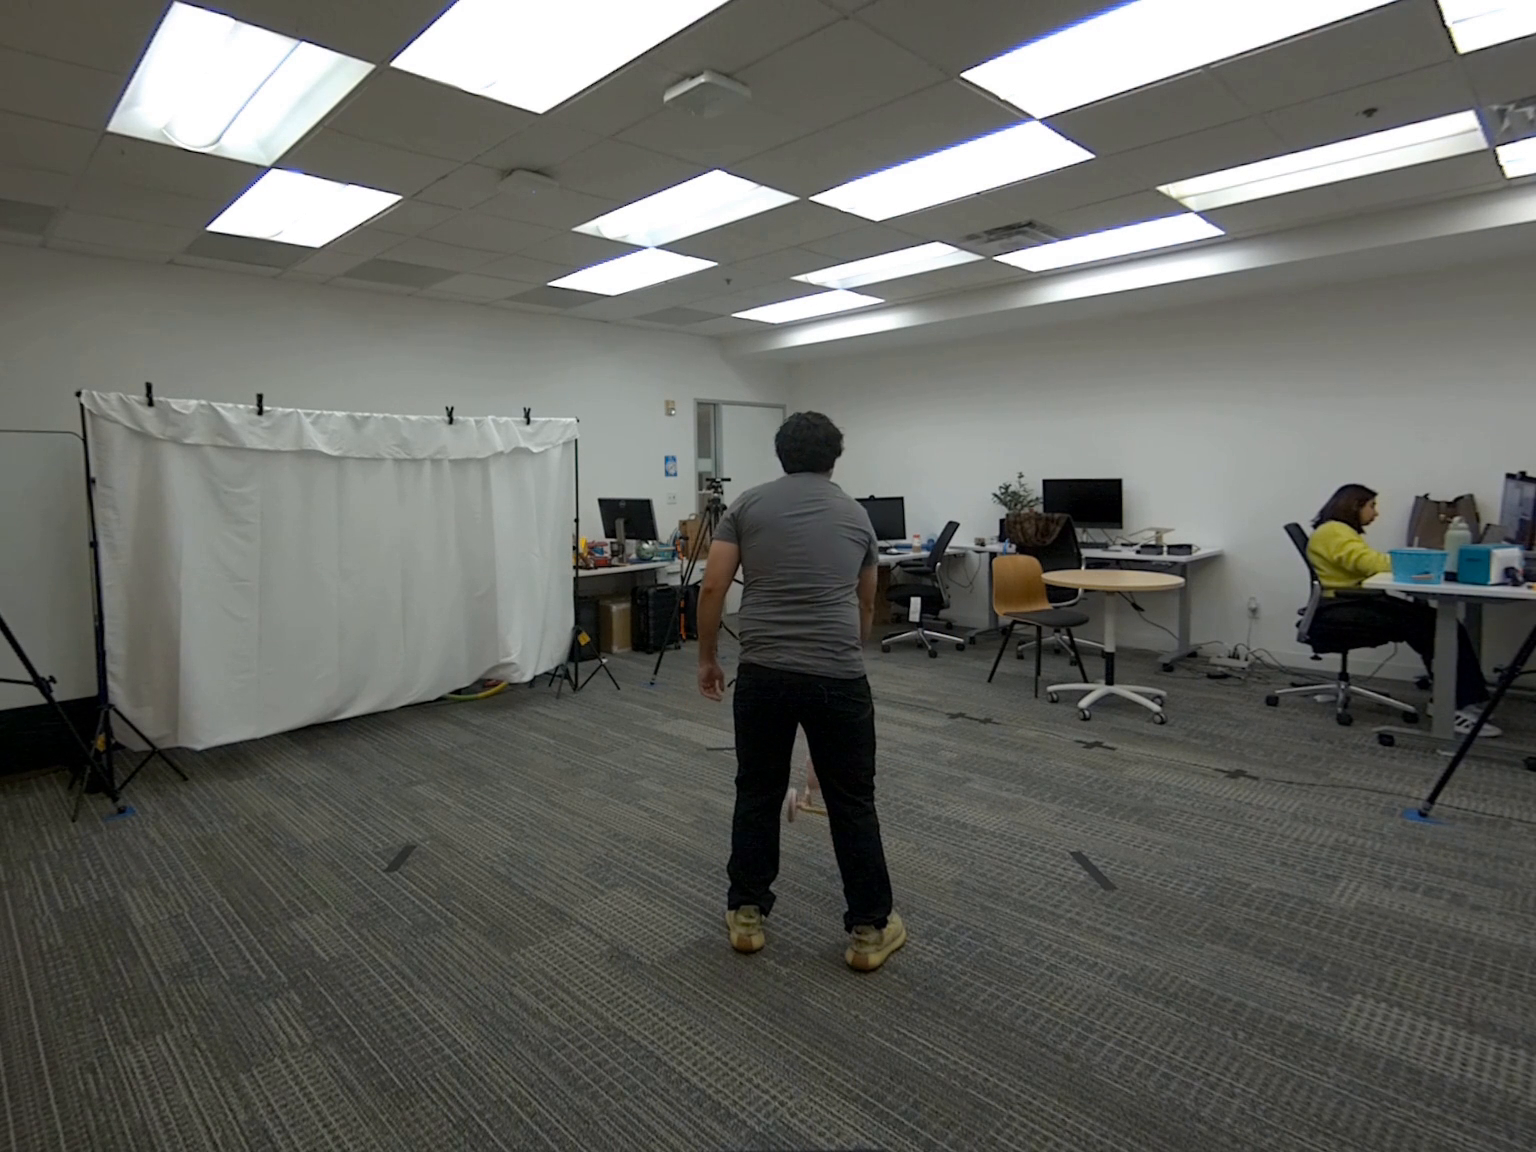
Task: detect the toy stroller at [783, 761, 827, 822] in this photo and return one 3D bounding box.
[{"bbox_3d":[0.251,0.647,2.983,0.286,0.542,0.332,0,-17,15],"label":"toy stroller"}]
